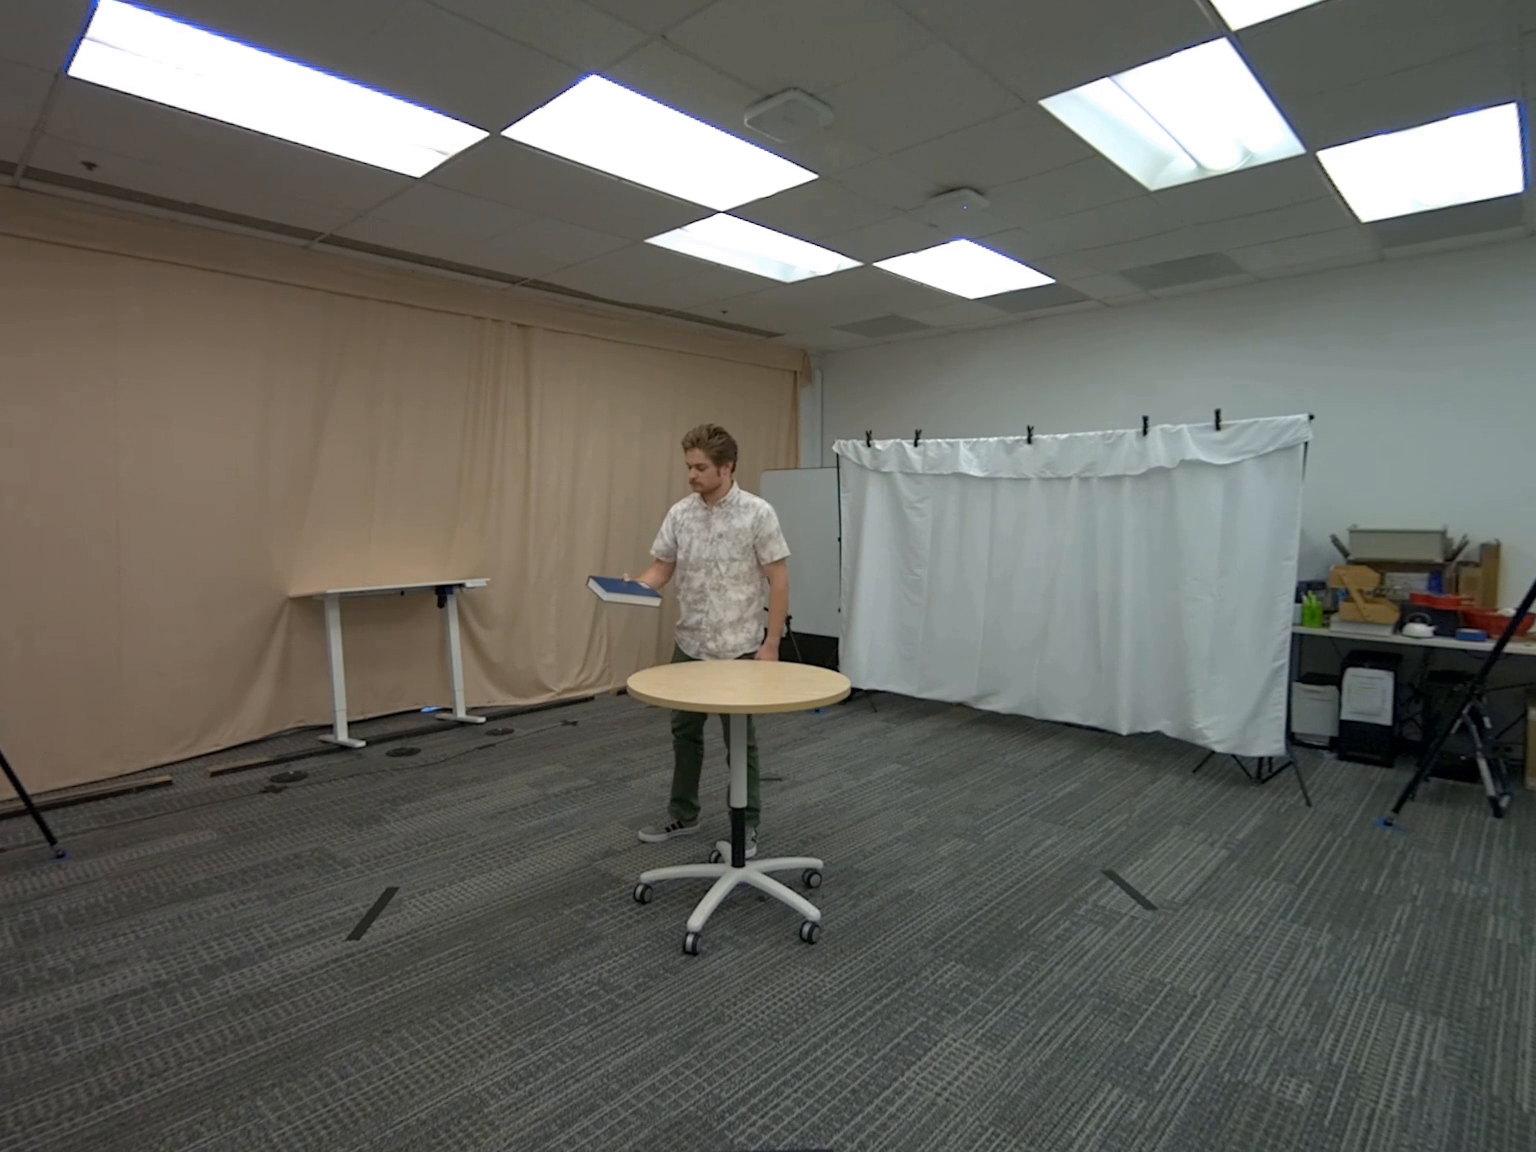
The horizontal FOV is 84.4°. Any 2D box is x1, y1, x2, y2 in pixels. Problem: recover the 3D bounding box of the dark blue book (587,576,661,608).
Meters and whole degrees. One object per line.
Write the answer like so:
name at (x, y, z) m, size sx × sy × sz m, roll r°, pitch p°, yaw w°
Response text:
dark blue book at (-0.549, 0.060, 3.191) m, size 0.237 × 0.045 × 0.169 m, roll 7°, pitch 16°, yaw -36°
